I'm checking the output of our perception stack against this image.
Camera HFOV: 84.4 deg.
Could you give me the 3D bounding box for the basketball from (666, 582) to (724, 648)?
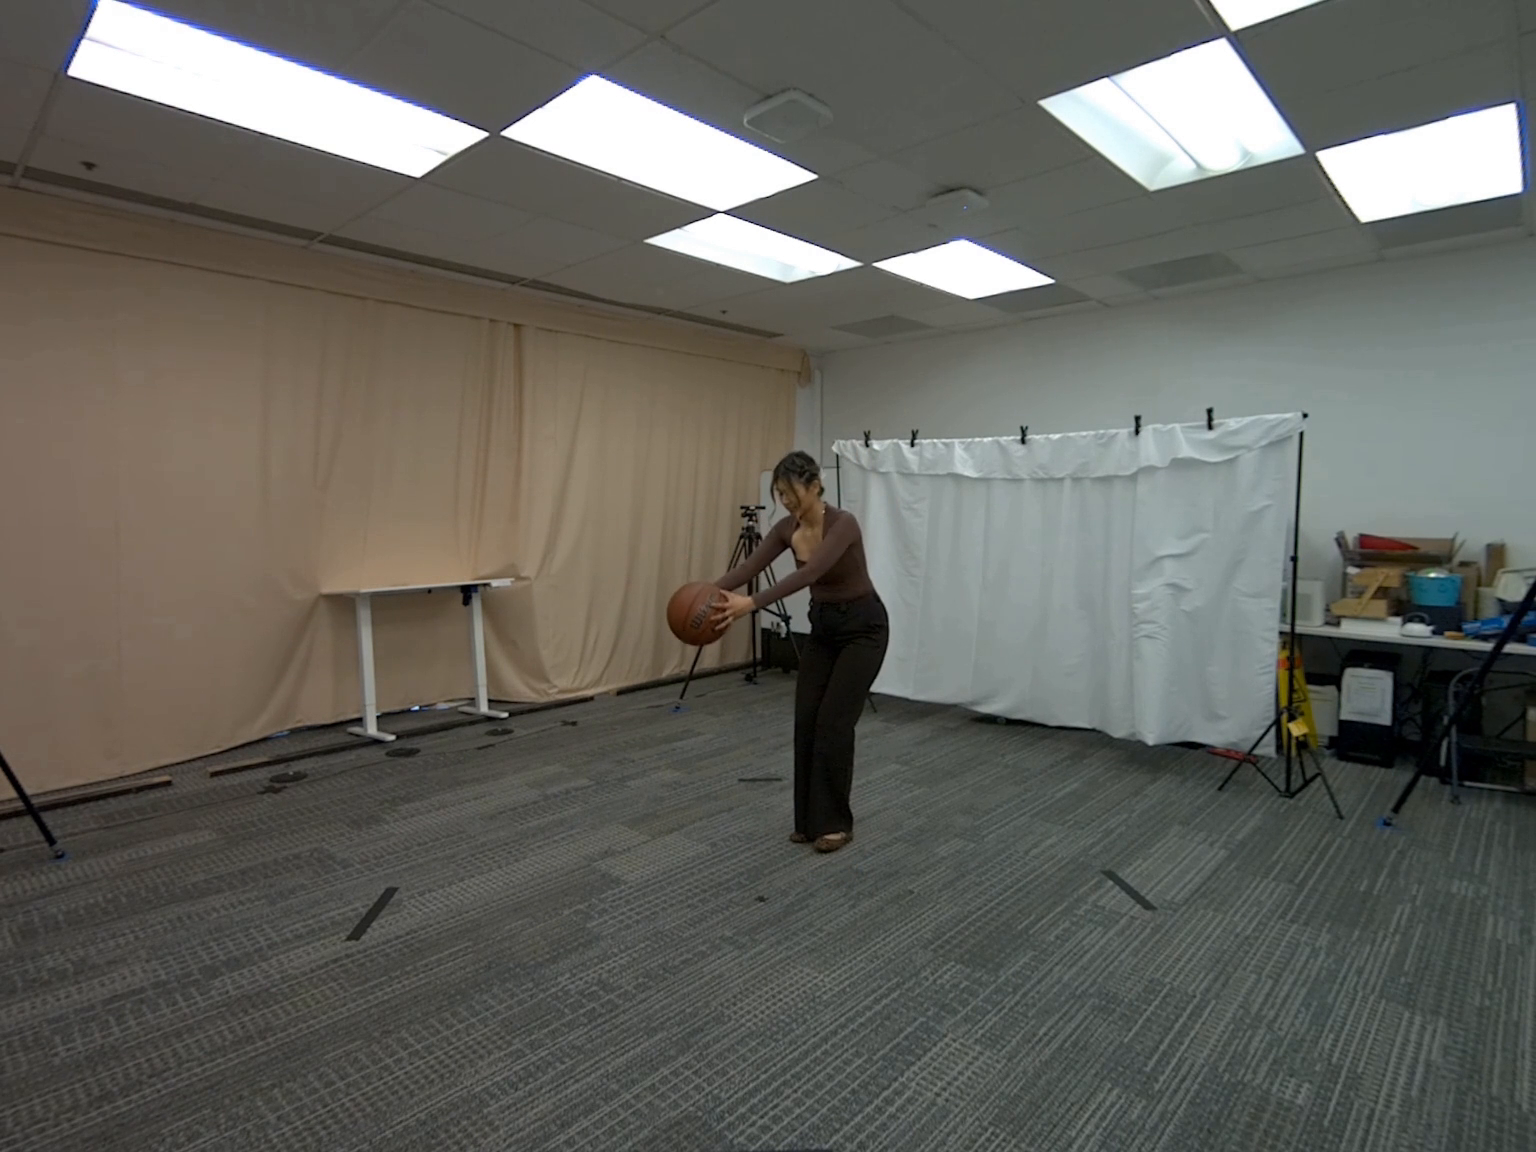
[{"bbox_3d":[-0.252,0.144,3.115,0.236,0.235,0.237,0,4,-2],"label":"basketball"}]
